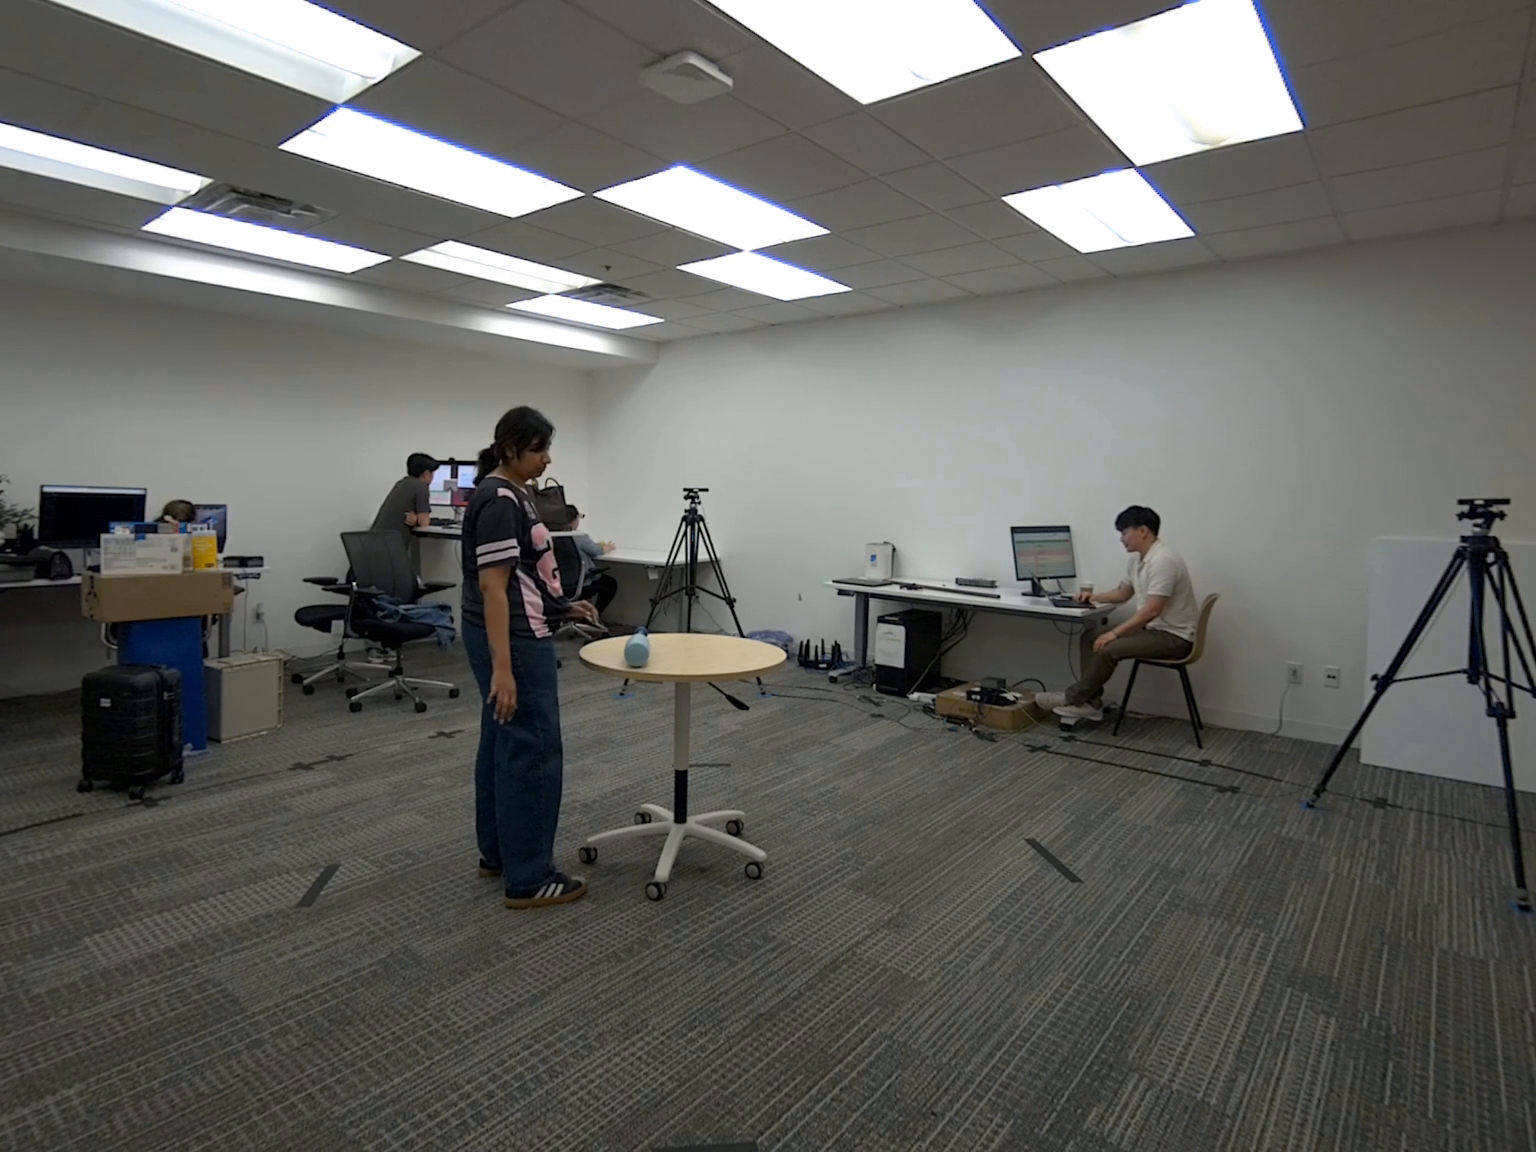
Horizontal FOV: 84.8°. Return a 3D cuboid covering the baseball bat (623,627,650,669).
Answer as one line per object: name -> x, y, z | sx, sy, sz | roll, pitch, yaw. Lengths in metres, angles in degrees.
baseball bat -> -0.491, 0.248, 3.108 | 0.088, 0.089, 0.548 | 0, 4, -9
